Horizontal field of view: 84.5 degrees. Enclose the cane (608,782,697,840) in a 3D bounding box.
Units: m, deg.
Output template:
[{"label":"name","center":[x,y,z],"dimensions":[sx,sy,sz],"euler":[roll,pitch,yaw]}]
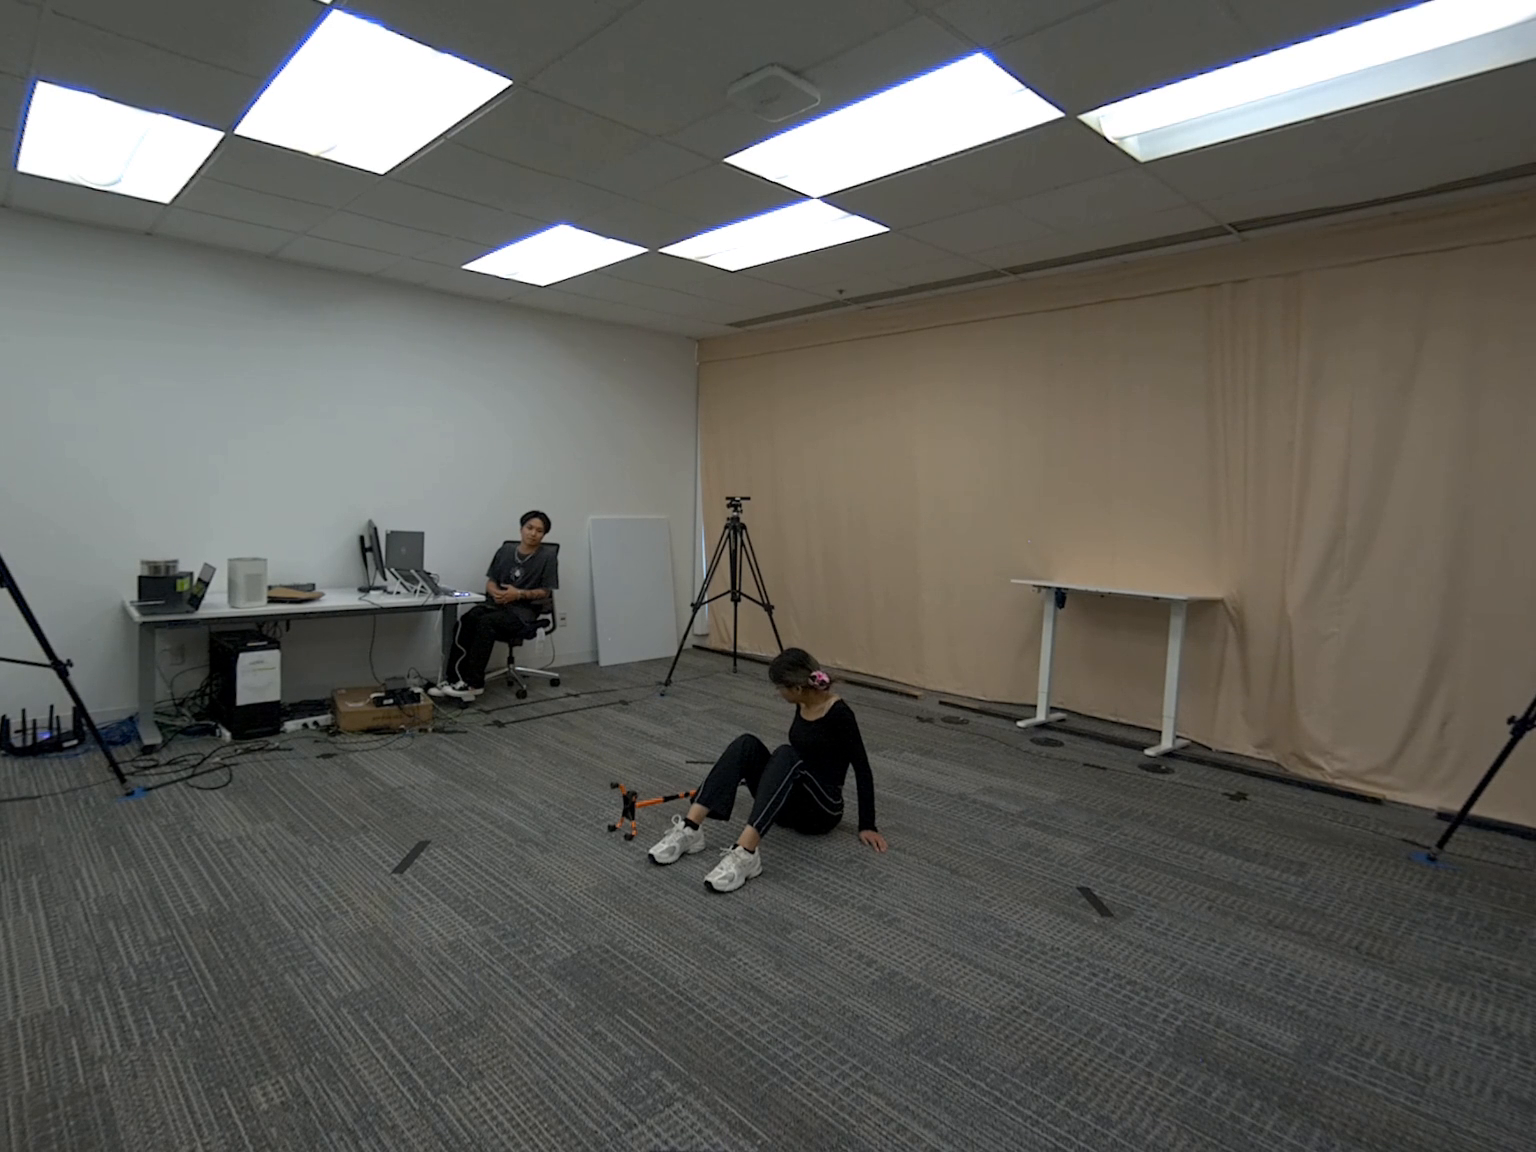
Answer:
[{"label":"cane","center":[-0.292,0.953,3.744],"dimensions":[0.886,0.206,0.155],"euler":[0,3,-42]}]
